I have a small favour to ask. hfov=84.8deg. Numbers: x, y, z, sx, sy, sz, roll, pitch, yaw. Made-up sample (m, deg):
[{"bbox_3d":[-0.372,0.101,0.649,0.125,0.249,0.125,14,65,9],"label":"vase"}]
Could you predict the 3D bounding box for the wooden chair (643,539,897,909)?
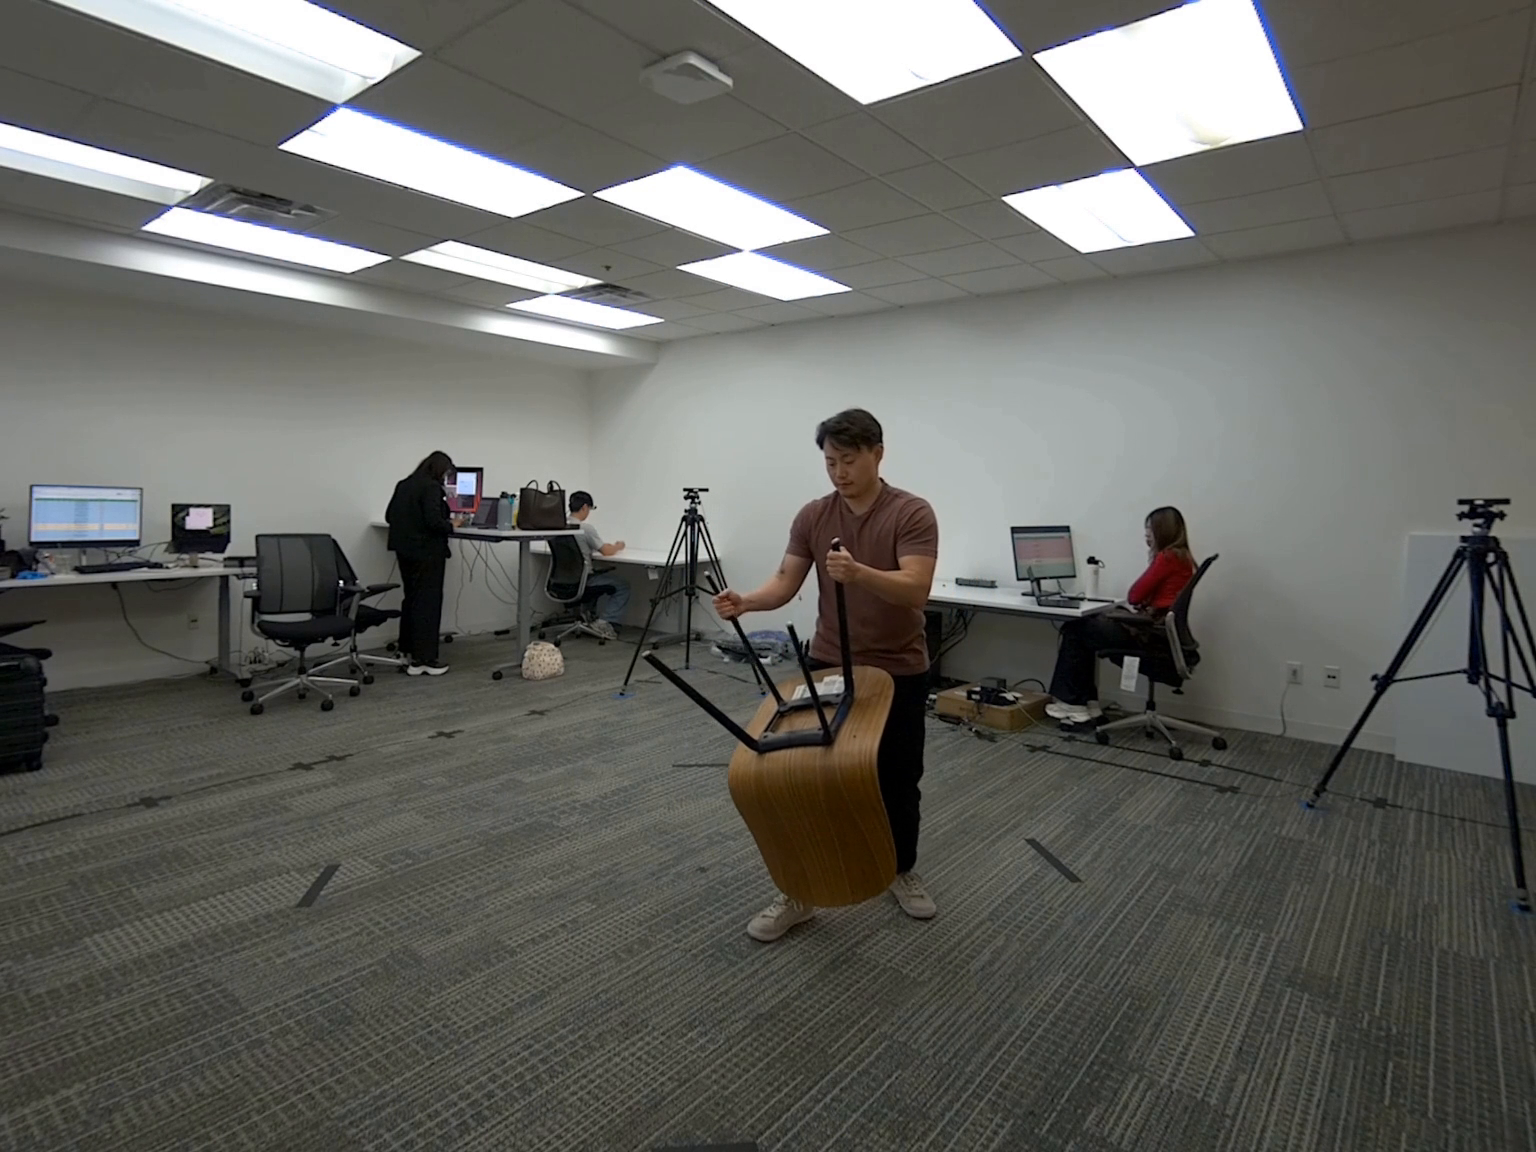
[{"bbox_3d":[0.100,0.411,2.459,0.487,0.862,0.522,-15,16,28],"label":"wooden chair"}]
